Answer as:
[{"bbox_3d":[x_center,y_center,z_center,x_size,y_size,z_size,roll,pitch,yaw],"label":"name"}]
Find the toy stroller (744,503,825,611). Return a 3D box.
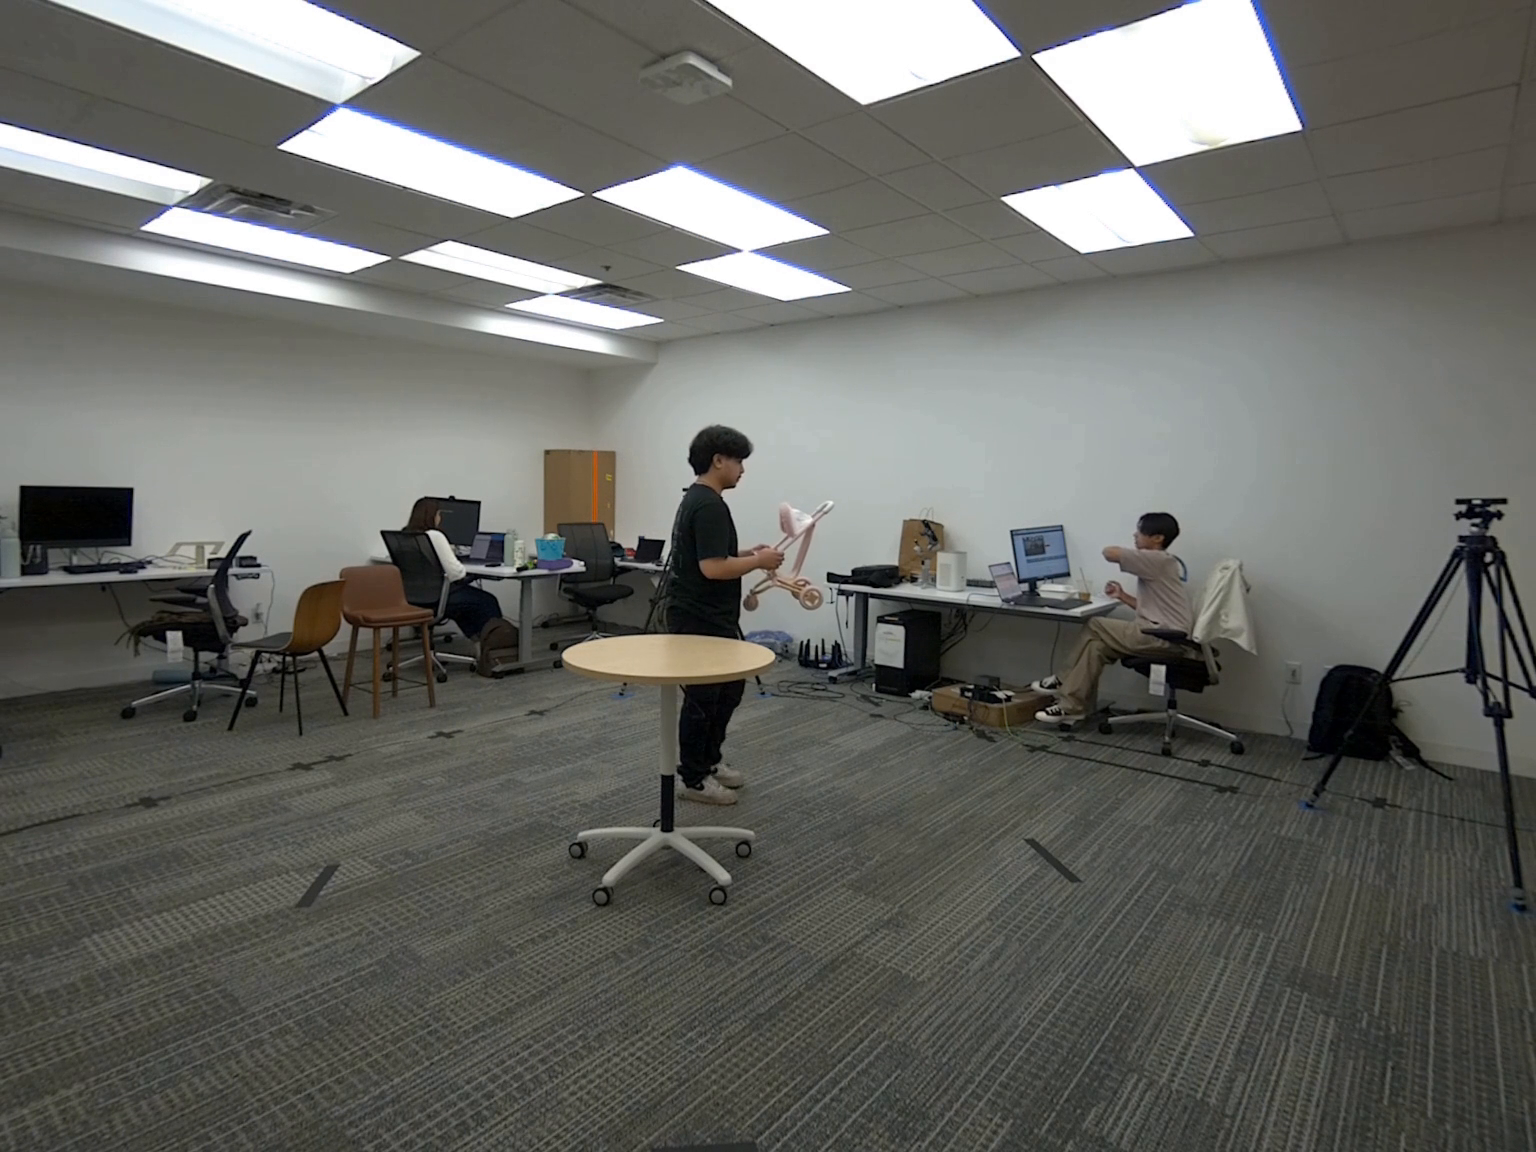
[{"bbox_3d":[0.078,-0.088,3.814,0.341,0.532,0.283,8,6,-1],"label":"toy stroller"}]
